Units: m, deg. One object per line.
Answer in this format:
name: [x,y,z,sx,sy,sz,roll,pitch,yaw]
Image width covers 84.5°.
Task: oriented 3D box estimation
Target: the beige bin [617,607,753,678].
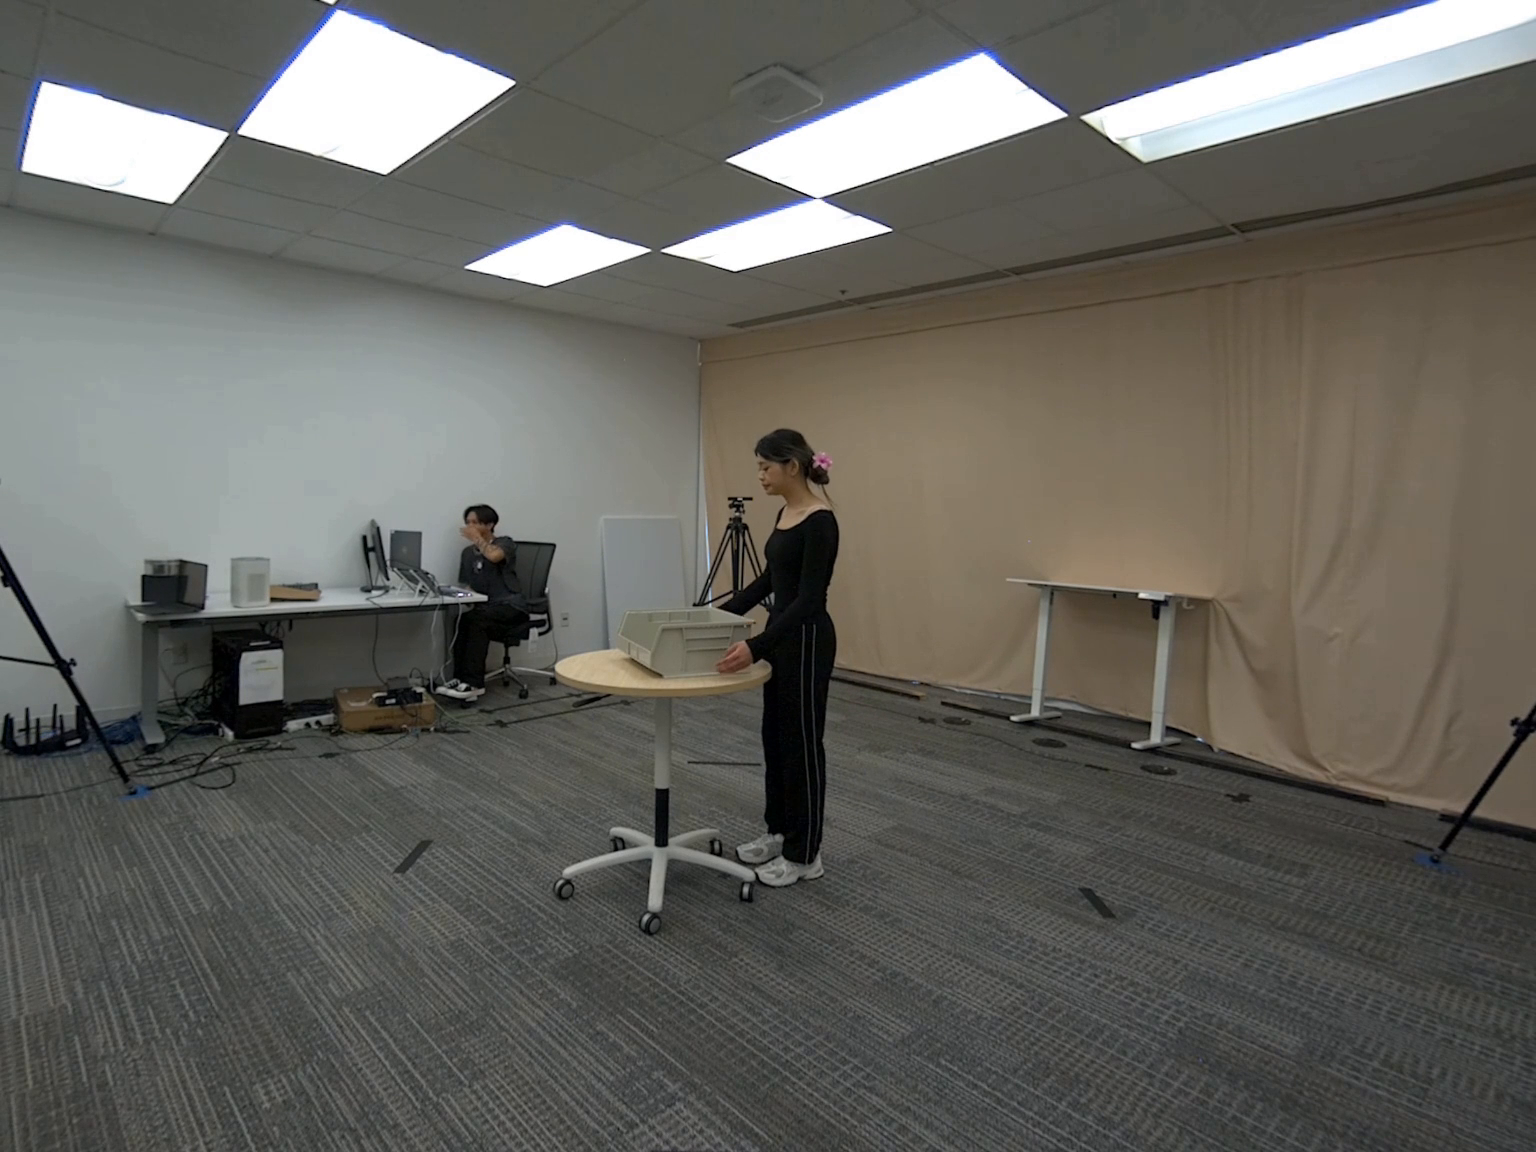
beige bin: [-0.307,0.231,2.994,0.371,0.188,0.431,0,4,-25]
